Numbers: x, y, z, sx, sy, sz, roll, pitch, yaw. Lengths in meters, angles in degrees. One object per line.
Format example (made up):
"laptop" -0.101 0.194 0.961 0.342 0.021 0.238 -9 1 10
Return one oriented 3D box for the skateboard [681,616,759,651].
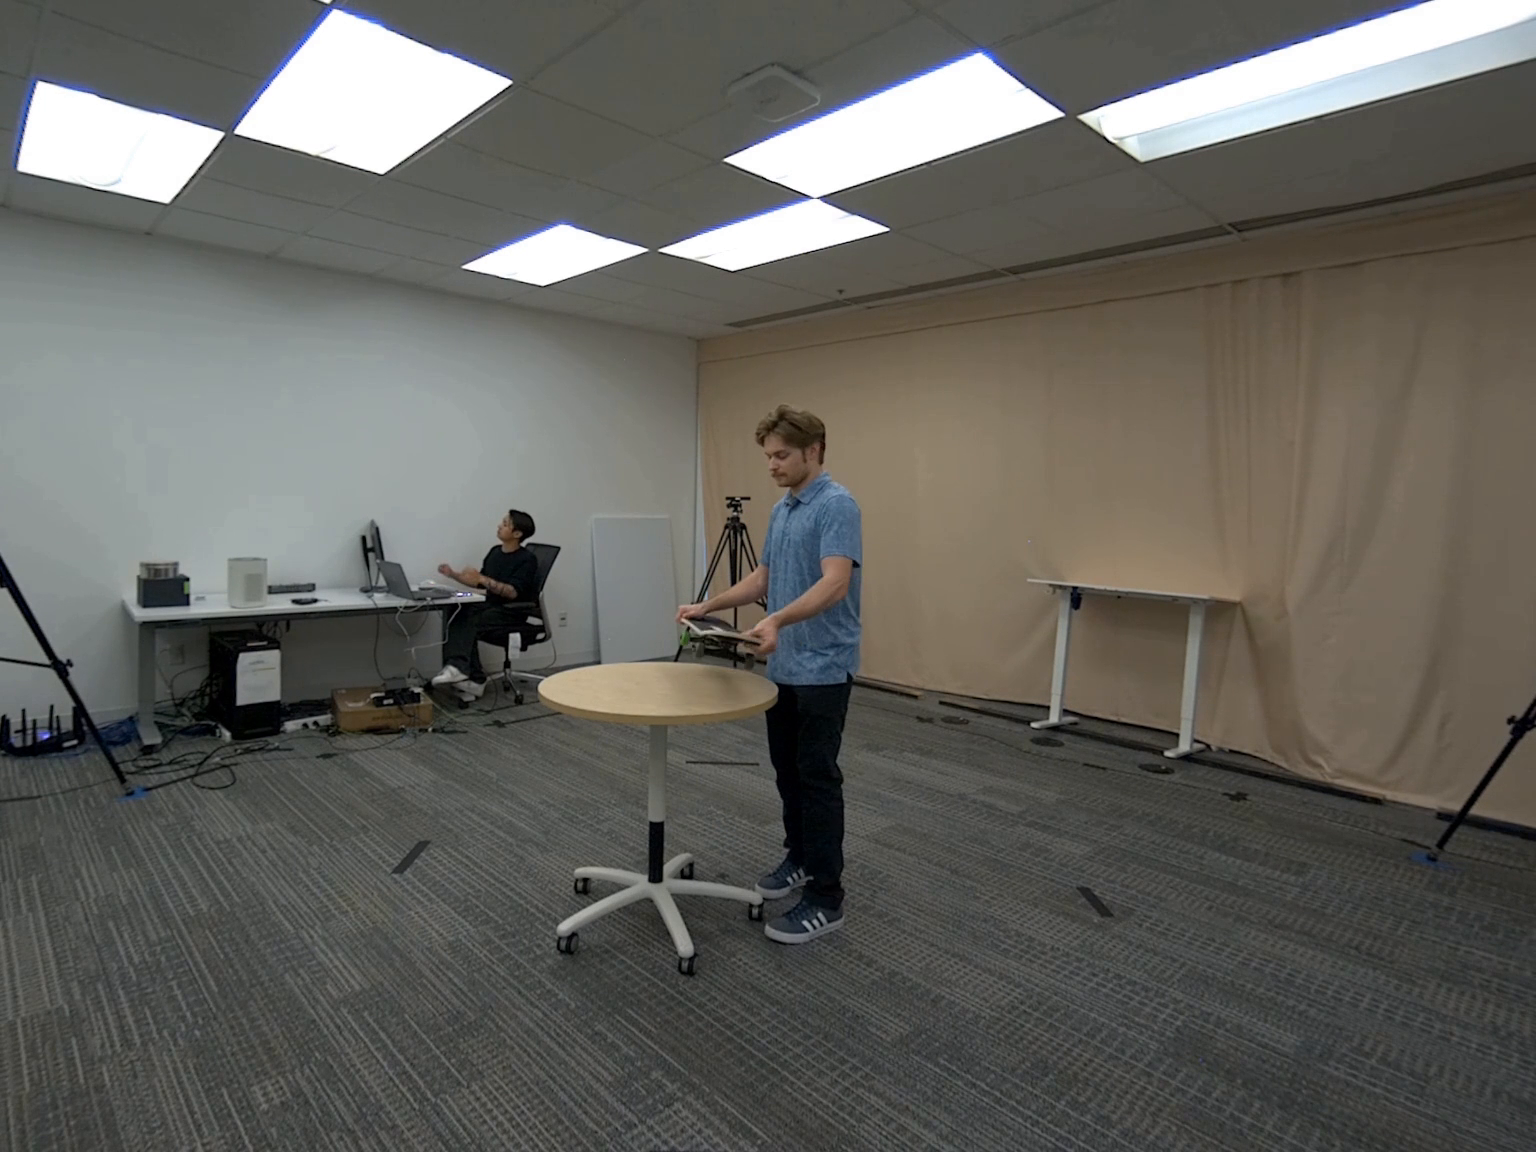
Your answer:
"skateboard" -0.166 0.211 2.709 0.191 0.110 0.793 13 -2 -13
